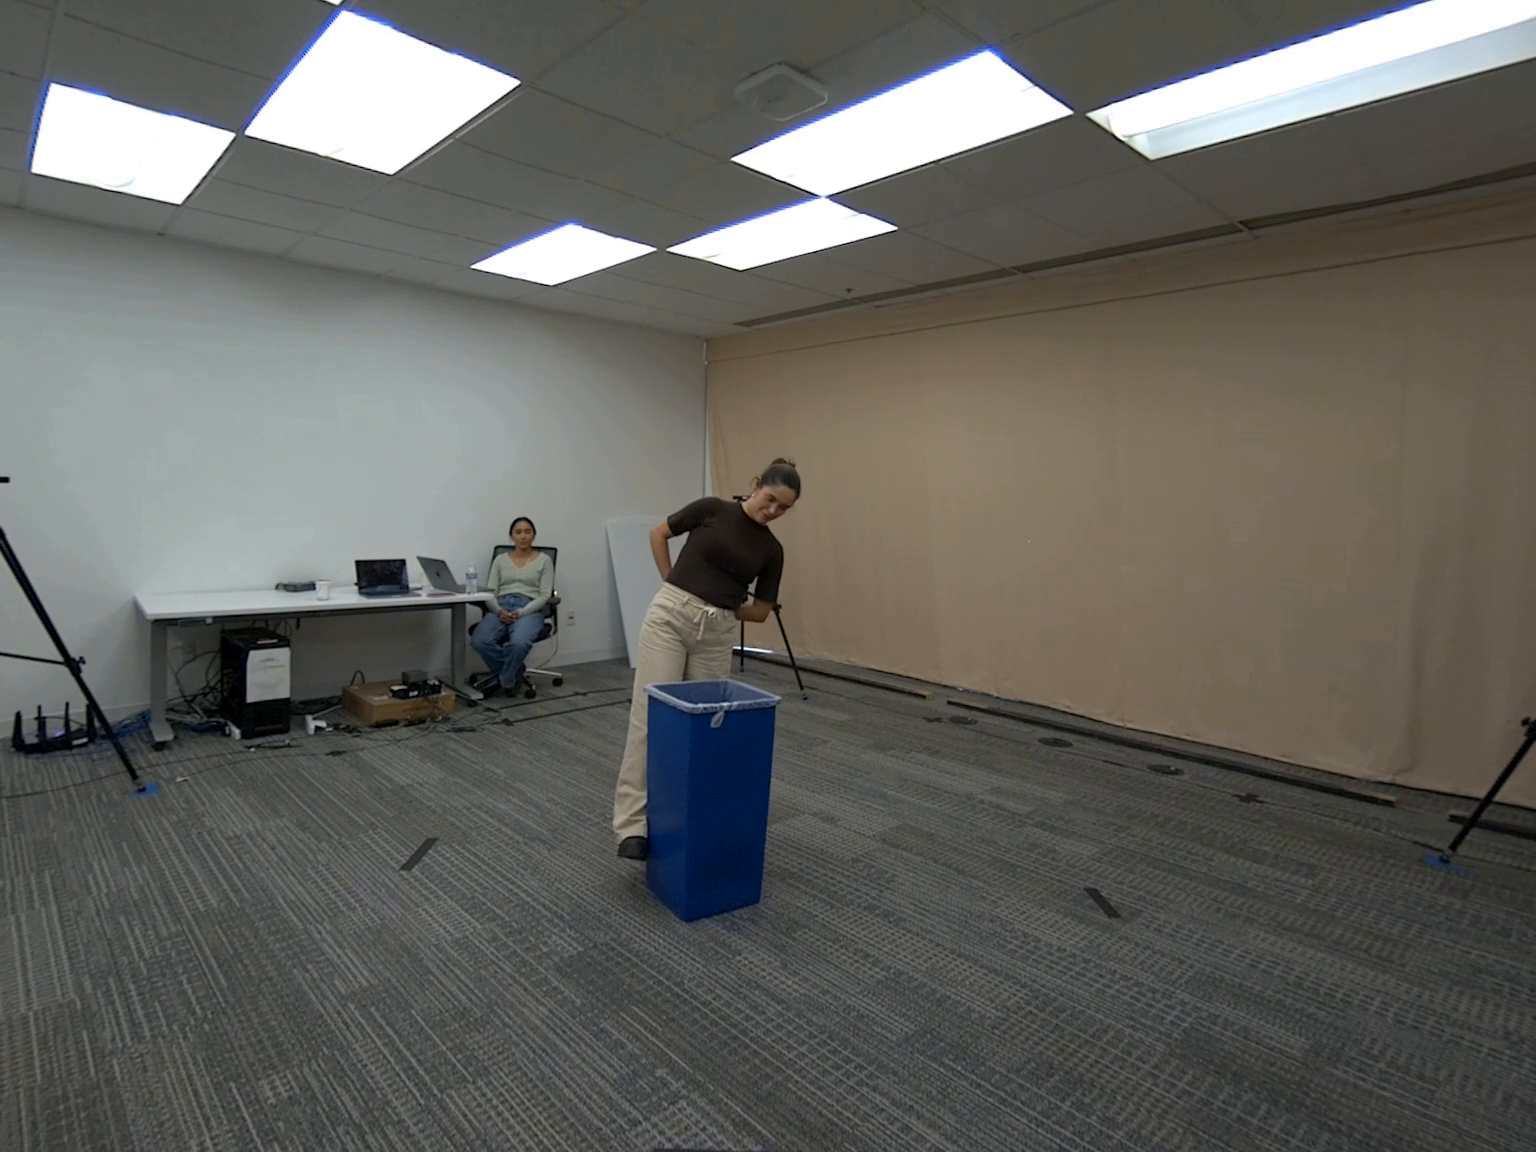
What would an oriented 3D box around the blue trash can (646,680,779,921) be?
[{"bbox_3d":[-0.215,0.756,2.929,0.366,0.712,0.387,1,3,-33],"label":"blue trash can"}]
